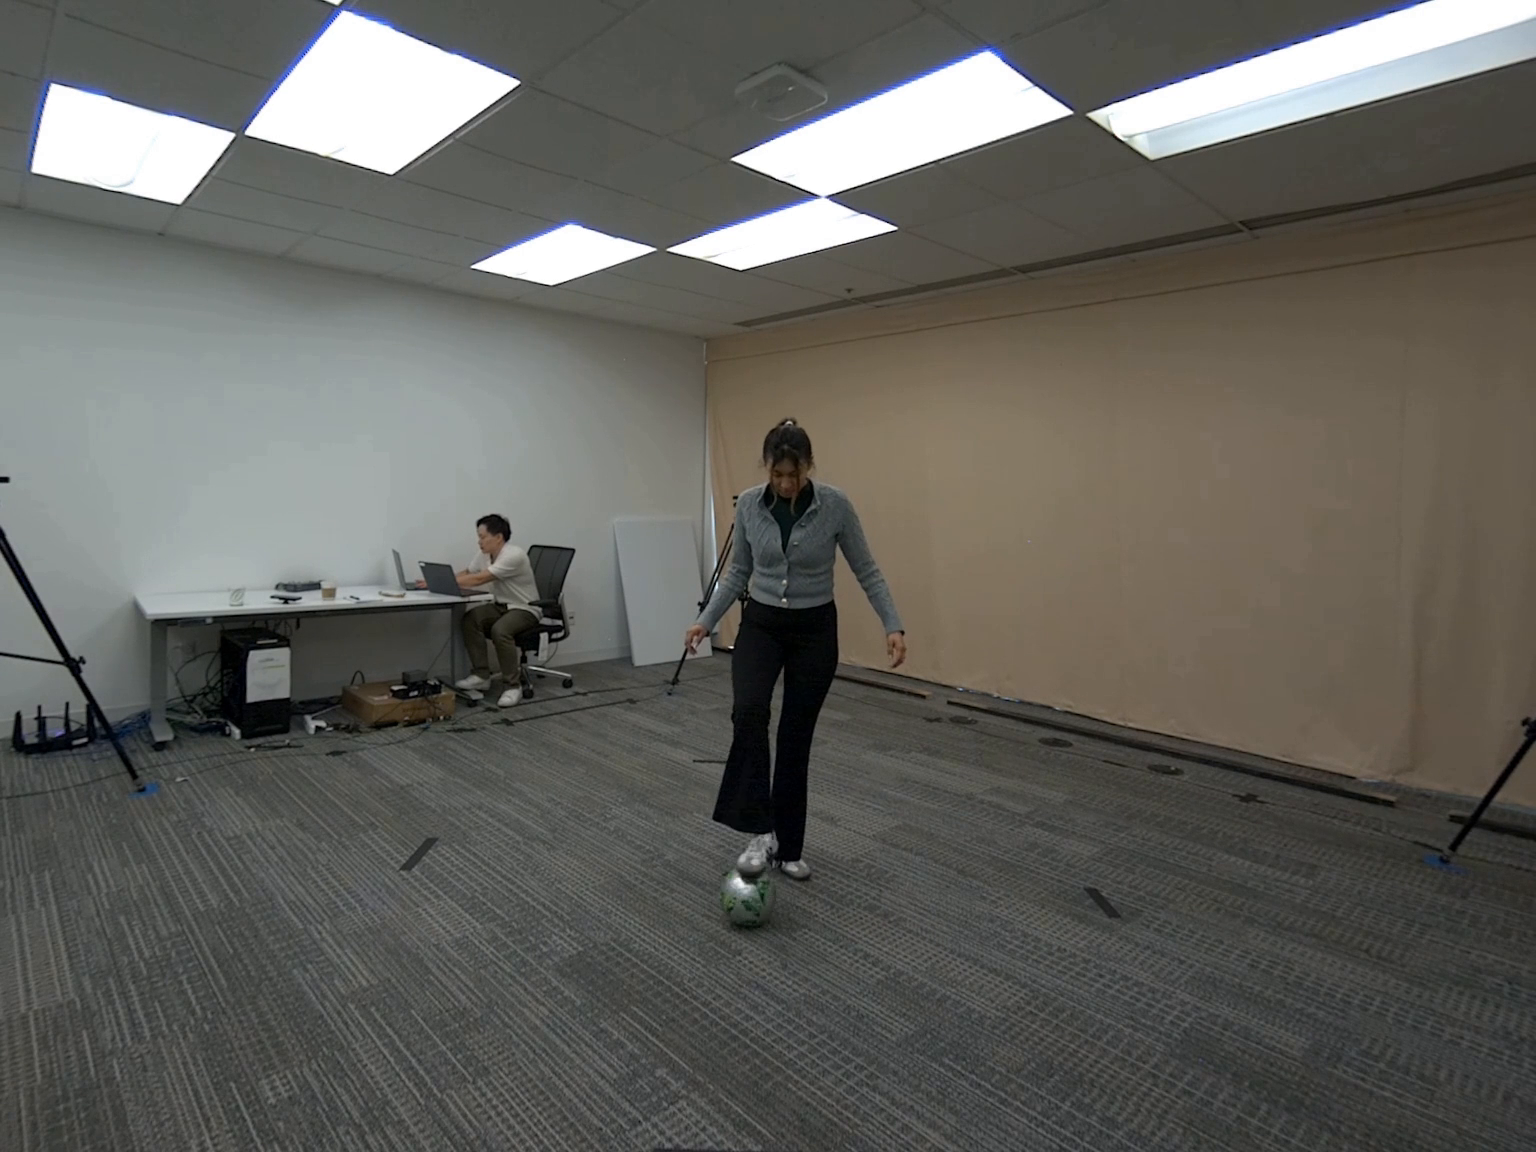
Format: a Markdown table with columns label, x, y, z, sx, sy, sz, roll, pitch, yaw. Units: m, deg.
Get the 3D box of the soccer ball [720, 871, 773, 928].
| label | x | y | z | sx | sy | sz | roll | pitch | yaw |
| --- | --- | --- | --- | --- | --- | --- | --- | --- | --- |
| soccer ball | -0.060 | 1.047 | 2.746 | 0.187 | 0.187 | 0.188 | 1 | 4 | -1 |
